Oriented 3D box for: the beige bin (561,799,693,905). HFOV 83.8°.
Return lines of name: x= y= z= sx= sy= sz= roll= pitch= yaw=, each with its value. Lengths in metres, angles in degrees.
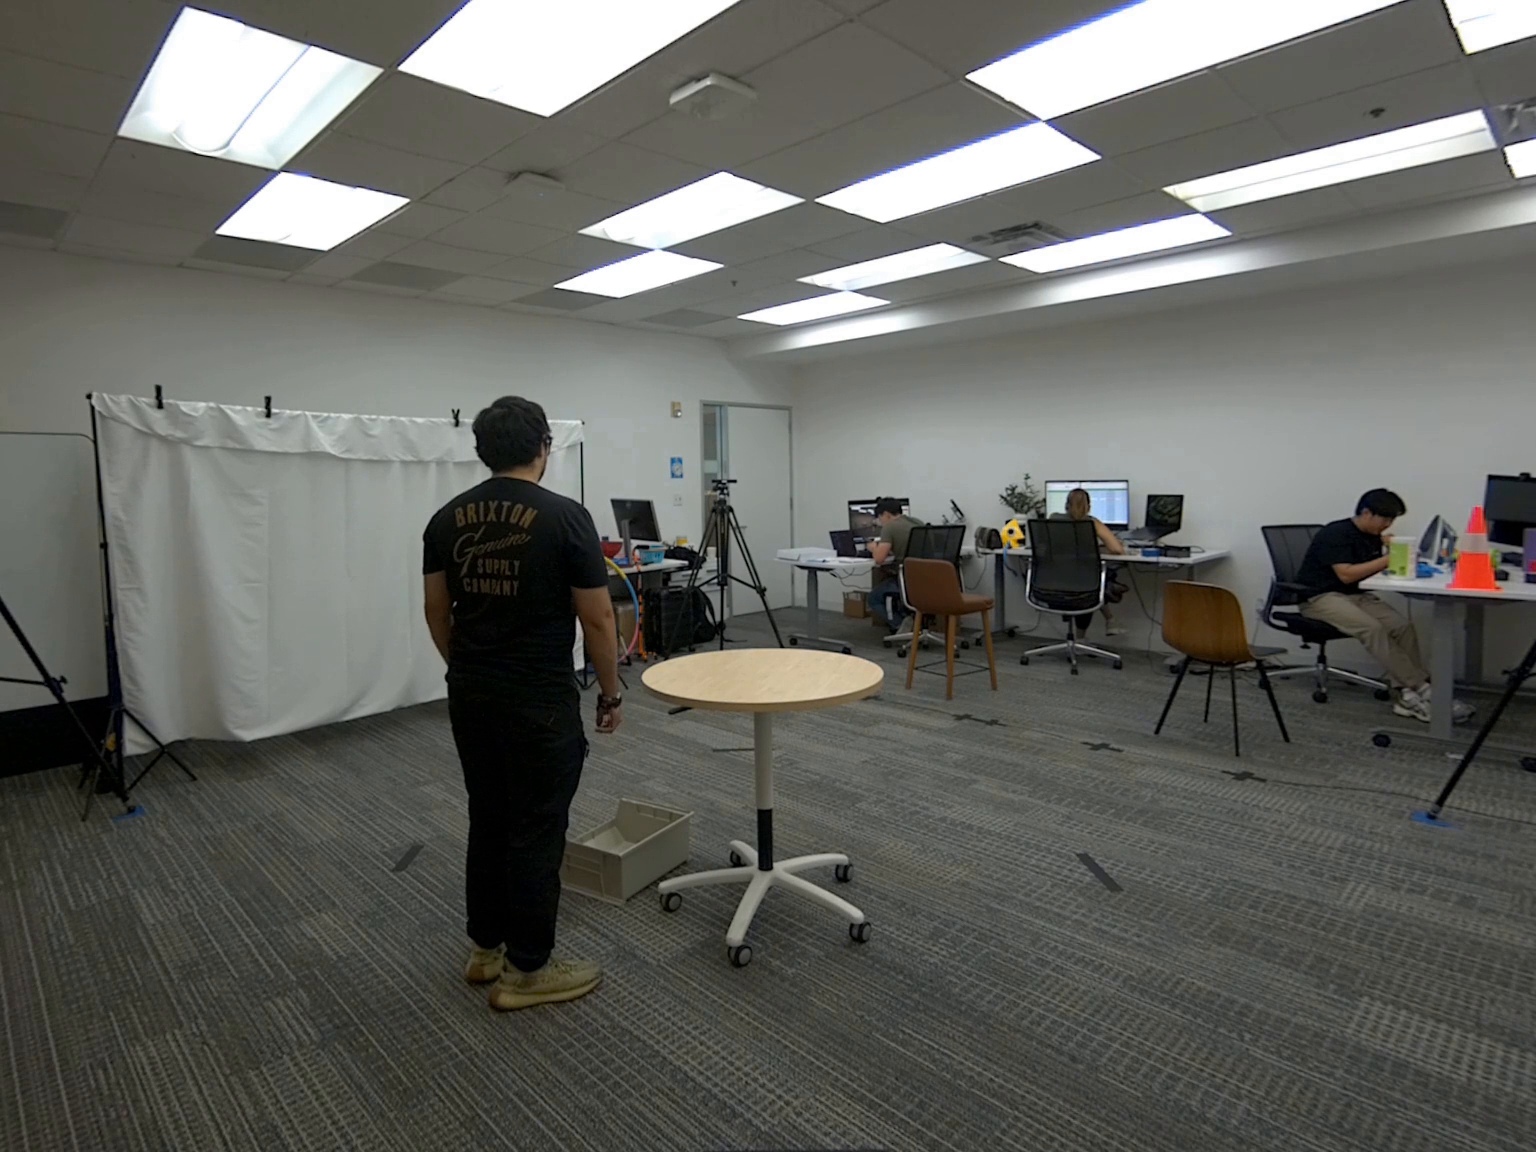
beige bin: x=-0.535 y=0.975 z=3.070 sx=0.388 sy=0.188 sz=0.413 roll=3 pitch=7 yaw=31
